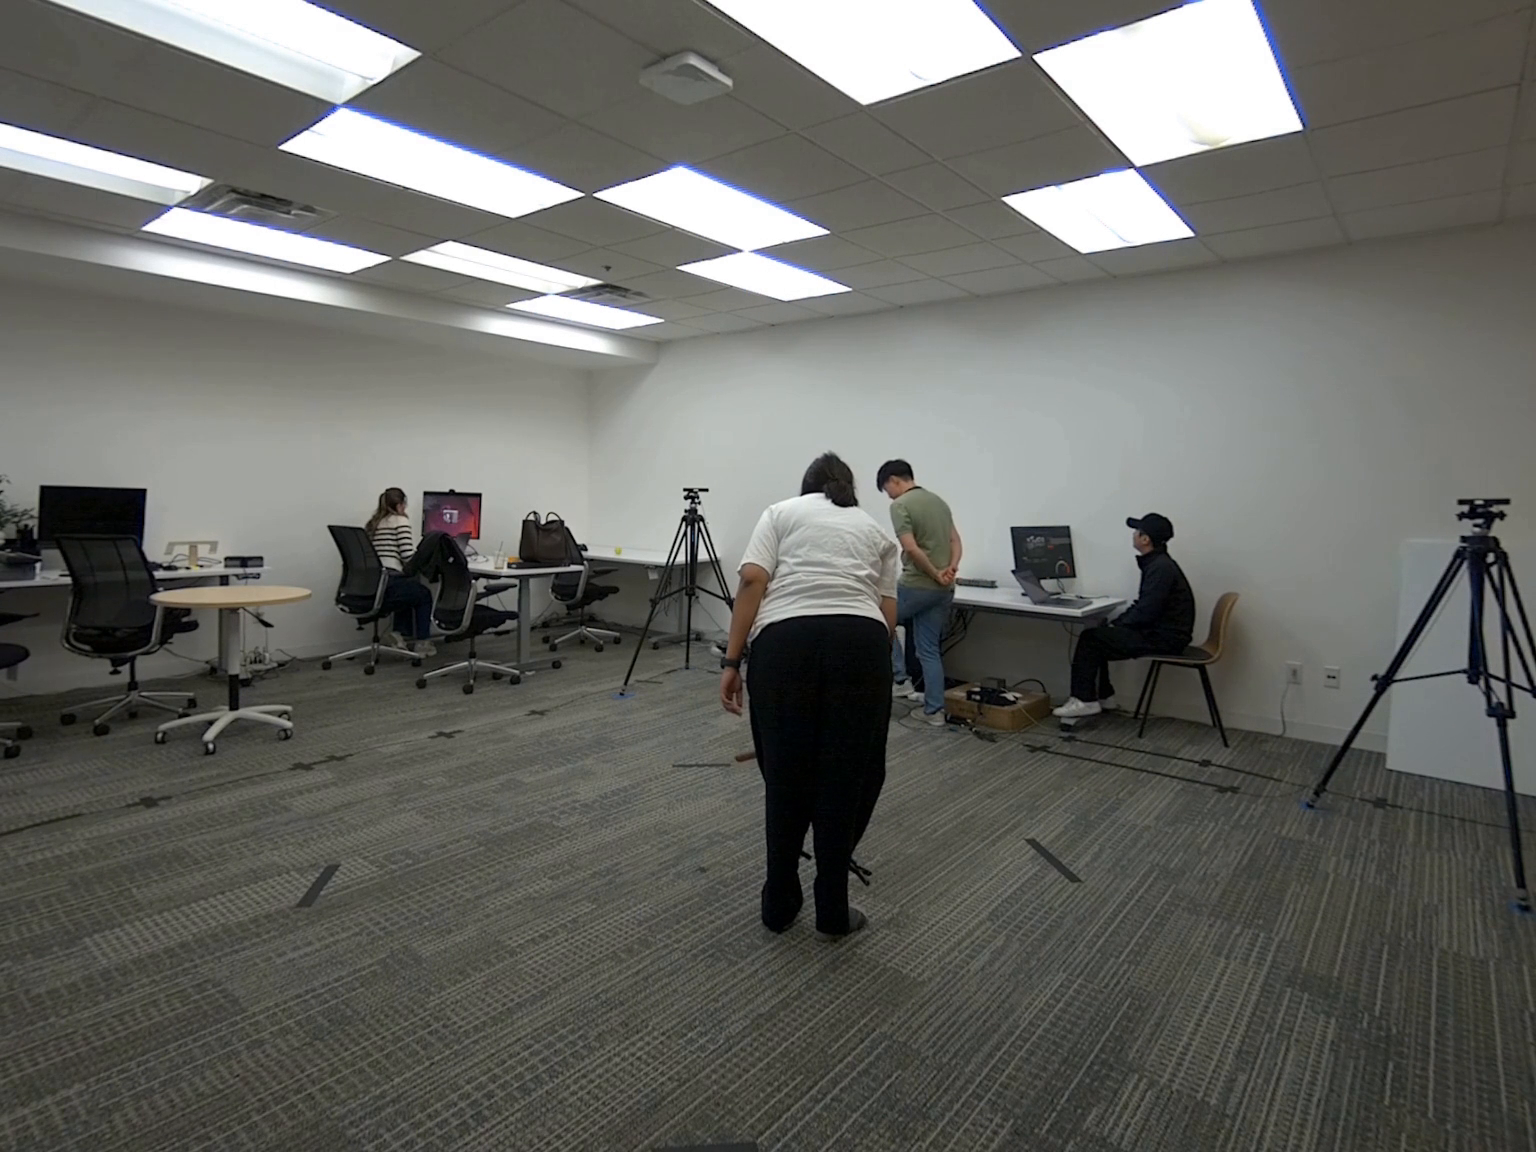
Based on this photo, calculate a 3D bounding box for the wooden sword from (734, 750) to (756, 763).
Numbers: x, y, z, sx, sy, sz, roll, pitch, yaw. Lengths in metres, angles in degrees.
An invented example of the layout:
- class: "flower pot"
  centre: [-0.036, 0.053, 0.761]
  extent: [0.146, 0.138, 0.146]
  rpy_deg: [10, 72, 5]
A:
- class: "wooden sword"
  centre: [0.064, 0.614, 3.272]
  extent: [0.023, 0.052, 1.029]
  rpy_deg: [-4, -19, -29]
